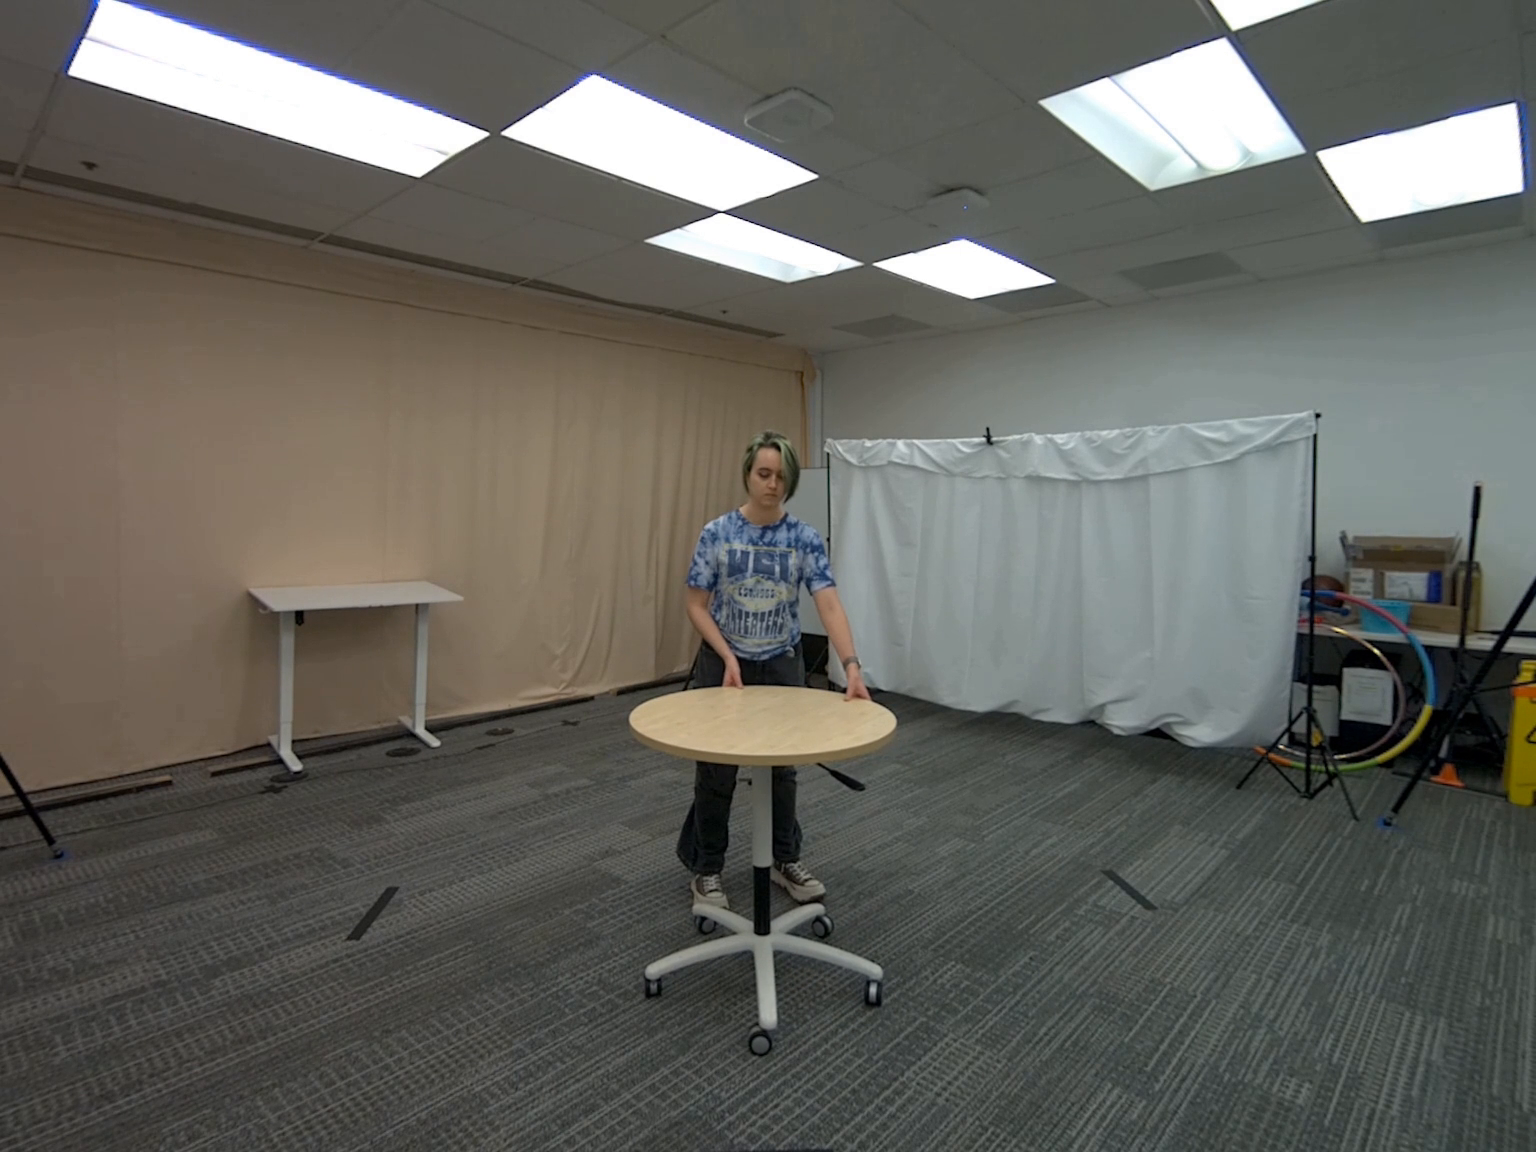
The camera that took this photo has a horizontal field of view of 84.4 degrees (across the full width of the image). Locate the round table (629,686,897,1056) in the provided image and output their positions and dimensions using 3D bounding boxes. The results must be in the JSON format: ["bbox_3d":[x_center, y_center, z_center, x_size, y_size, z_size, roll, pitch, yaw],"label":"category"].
[{"bbox_3d":[-0.009,0.795,2.460,0.763,0.792,0.767,0,4,-2],"label":"round table"}]
